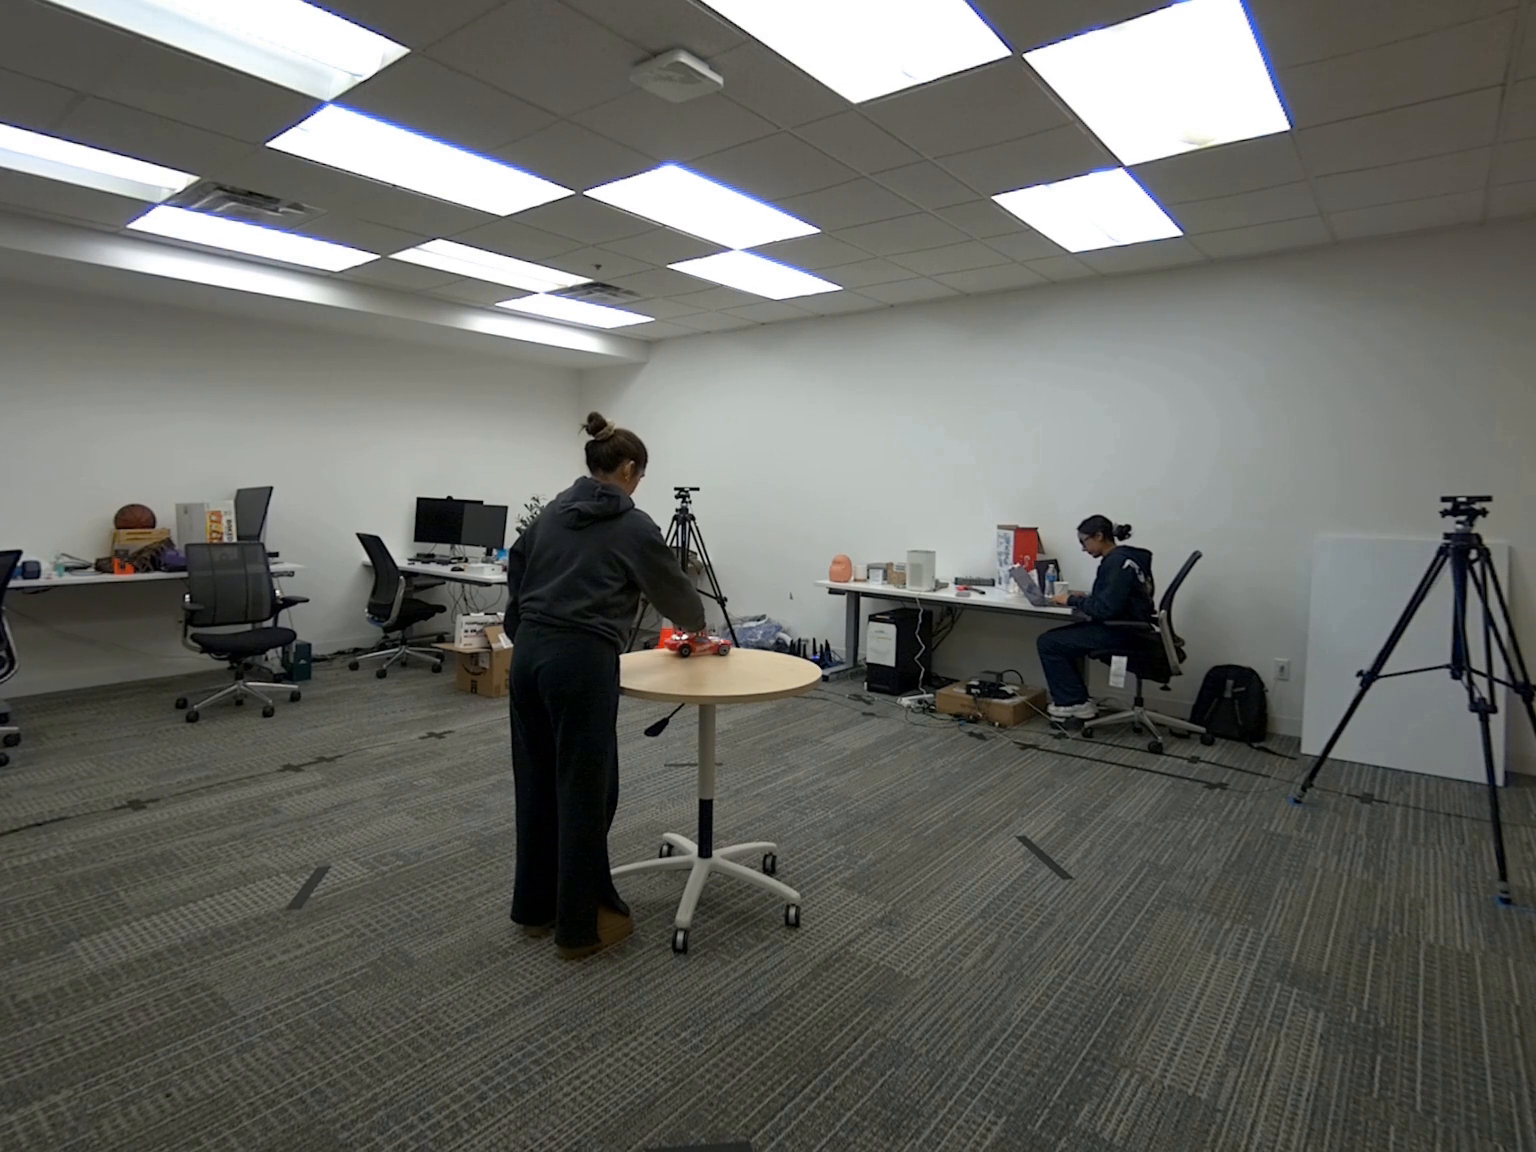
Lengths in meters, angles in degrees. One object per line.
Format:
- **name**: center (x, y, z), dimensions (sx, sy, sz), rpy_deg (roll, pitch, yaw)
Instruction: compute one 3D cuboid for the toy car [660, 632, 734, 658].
- **toy car**: center (-0.270, 0.252, 3.098), dimensions (0.250, 0.083, 0.132), rpy_deg (11, 2, -14)
